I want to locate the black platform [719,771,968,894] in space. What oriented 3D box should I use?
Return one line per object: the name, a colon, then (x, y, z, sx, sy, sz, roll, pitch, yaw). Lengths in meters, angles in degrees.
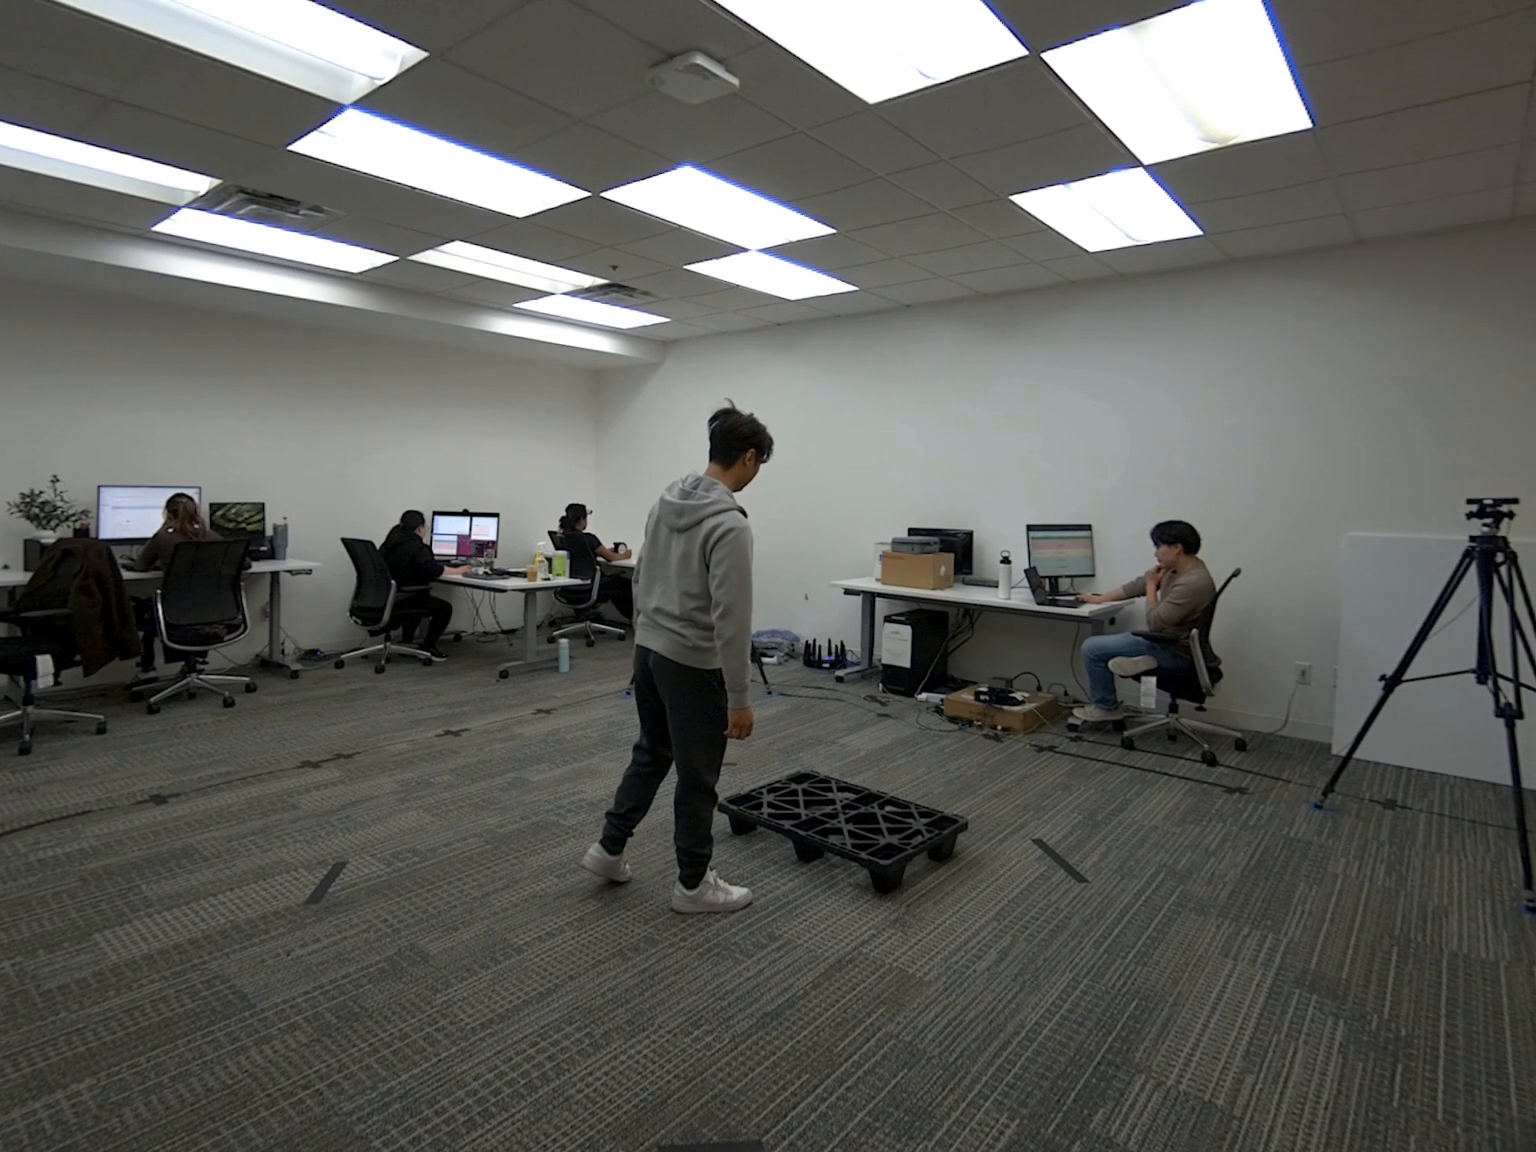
black platform: (0.278, 0.986, 3.352, 0.833, 0.143, 0.587, 6, 8, 42)
